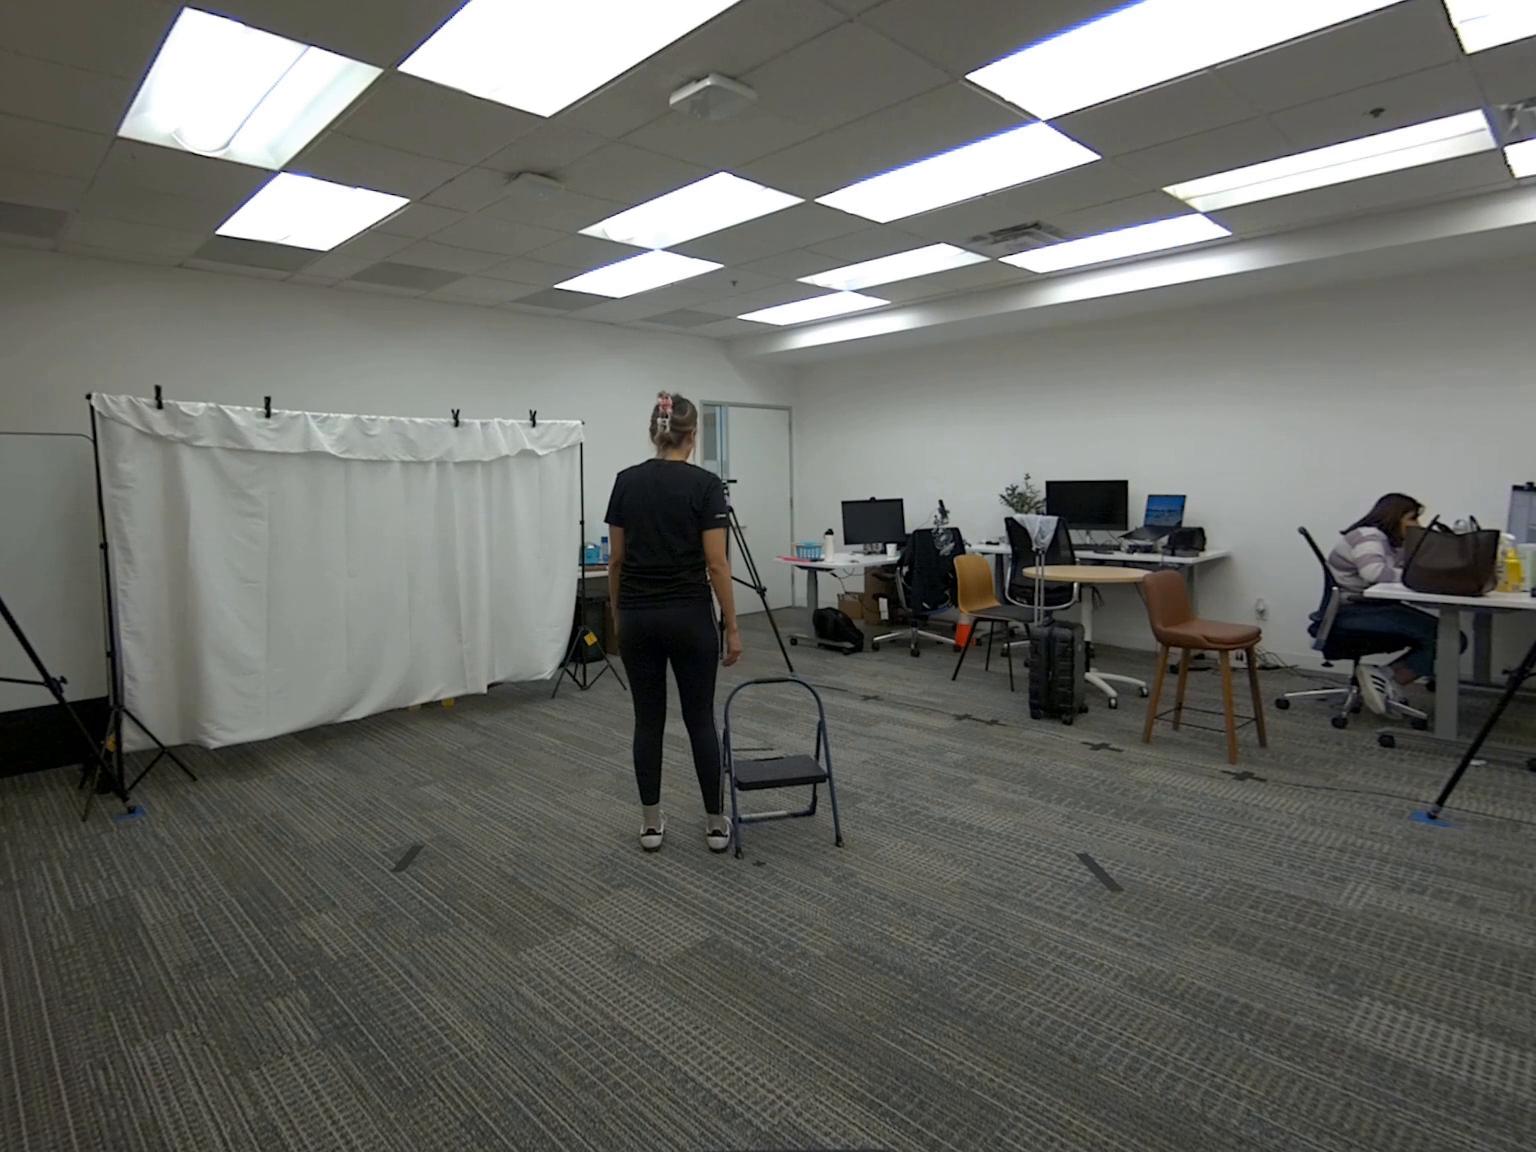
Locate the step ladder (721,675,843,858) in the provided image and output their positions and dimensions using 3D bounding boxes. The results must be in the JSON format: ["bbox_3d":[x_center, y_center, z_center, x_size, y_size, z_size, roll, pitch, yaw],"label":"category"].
[{"bbox_3d":[0.041,0.715,3.352,0.425,0.604,0.355,-2,4,-14],"label":"step ladder"}]
